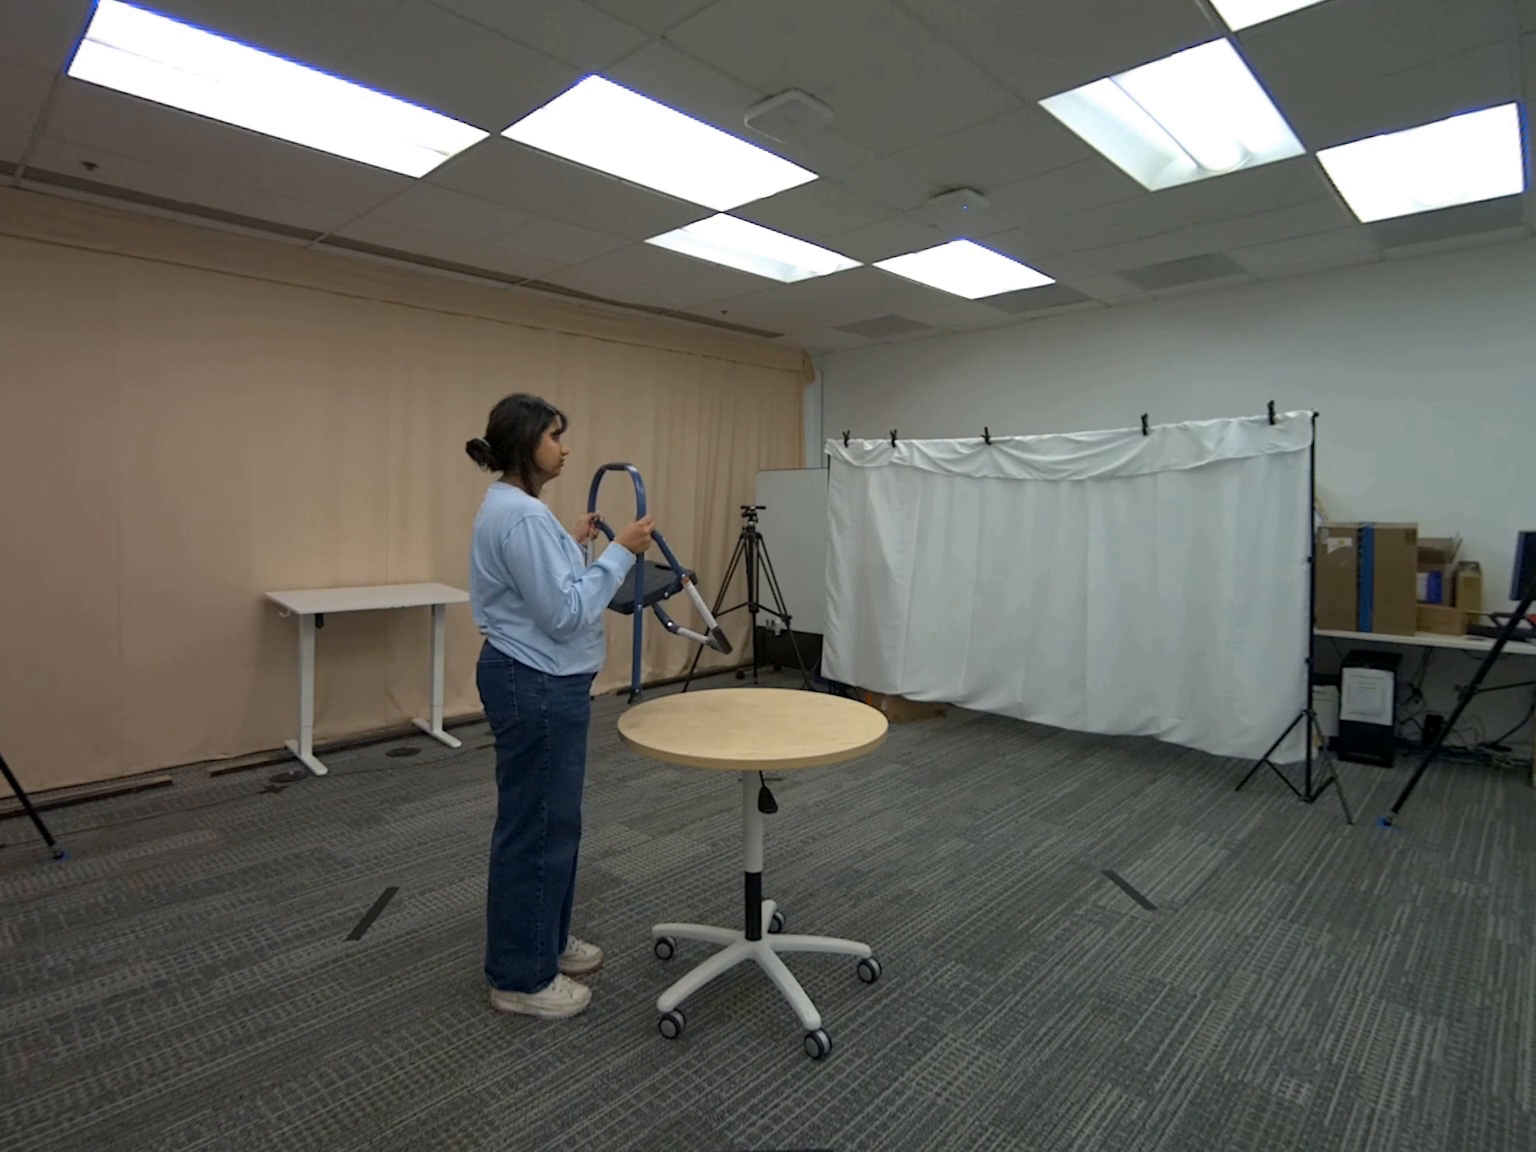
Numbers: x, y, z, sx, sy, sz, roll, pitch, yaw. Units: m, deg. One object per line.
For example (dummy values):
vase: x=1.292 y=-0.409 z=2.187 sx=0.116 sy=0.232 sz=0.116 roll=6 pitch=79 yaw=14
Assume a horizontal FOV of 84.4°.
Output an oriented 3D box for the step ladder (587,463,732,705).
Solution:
step ladder: x=-0.418 y=-0.016 z=2.472 sx=0.343 sy=0.598 sz=0.444 roll=-23 pitch=17 yaw=-28
